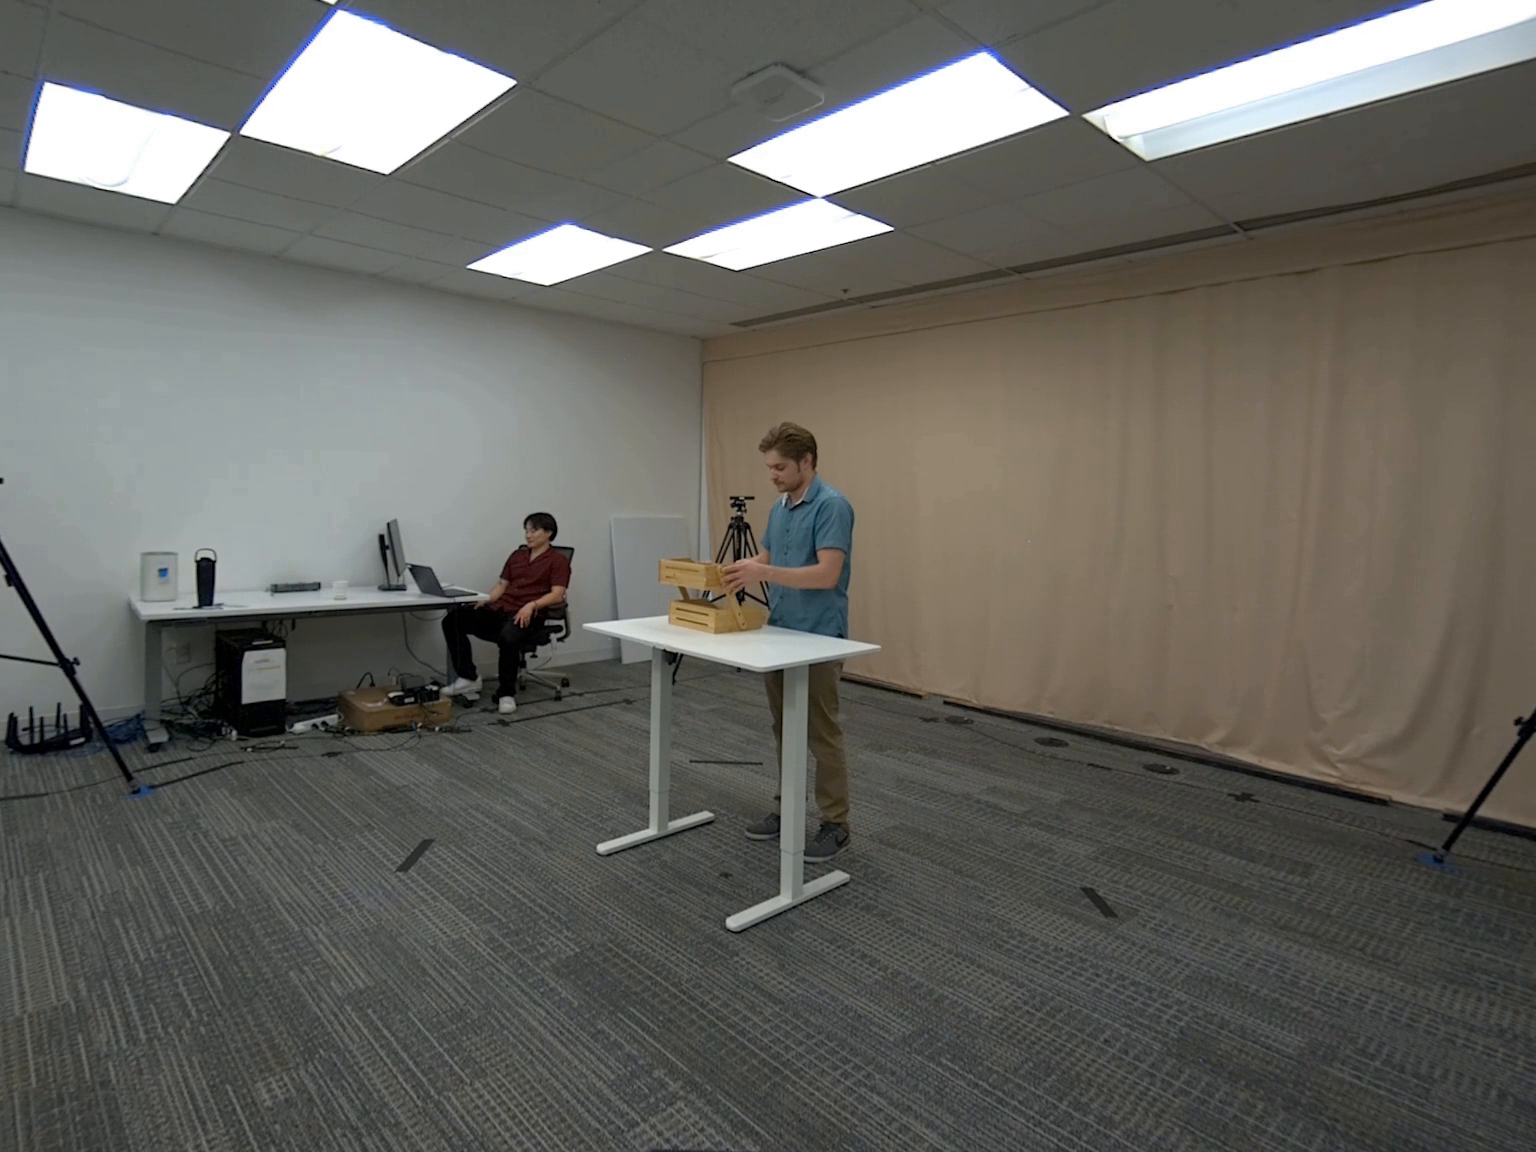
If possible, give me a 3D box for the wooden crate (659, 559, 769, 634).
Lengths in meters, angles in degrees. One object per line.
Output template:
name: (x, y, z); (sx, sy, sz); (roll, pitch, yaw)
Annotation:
wooden crate: (-0.225, 0.068, 3.300); (0.295, 0.272, 0.333); (-4, 7, -41)
